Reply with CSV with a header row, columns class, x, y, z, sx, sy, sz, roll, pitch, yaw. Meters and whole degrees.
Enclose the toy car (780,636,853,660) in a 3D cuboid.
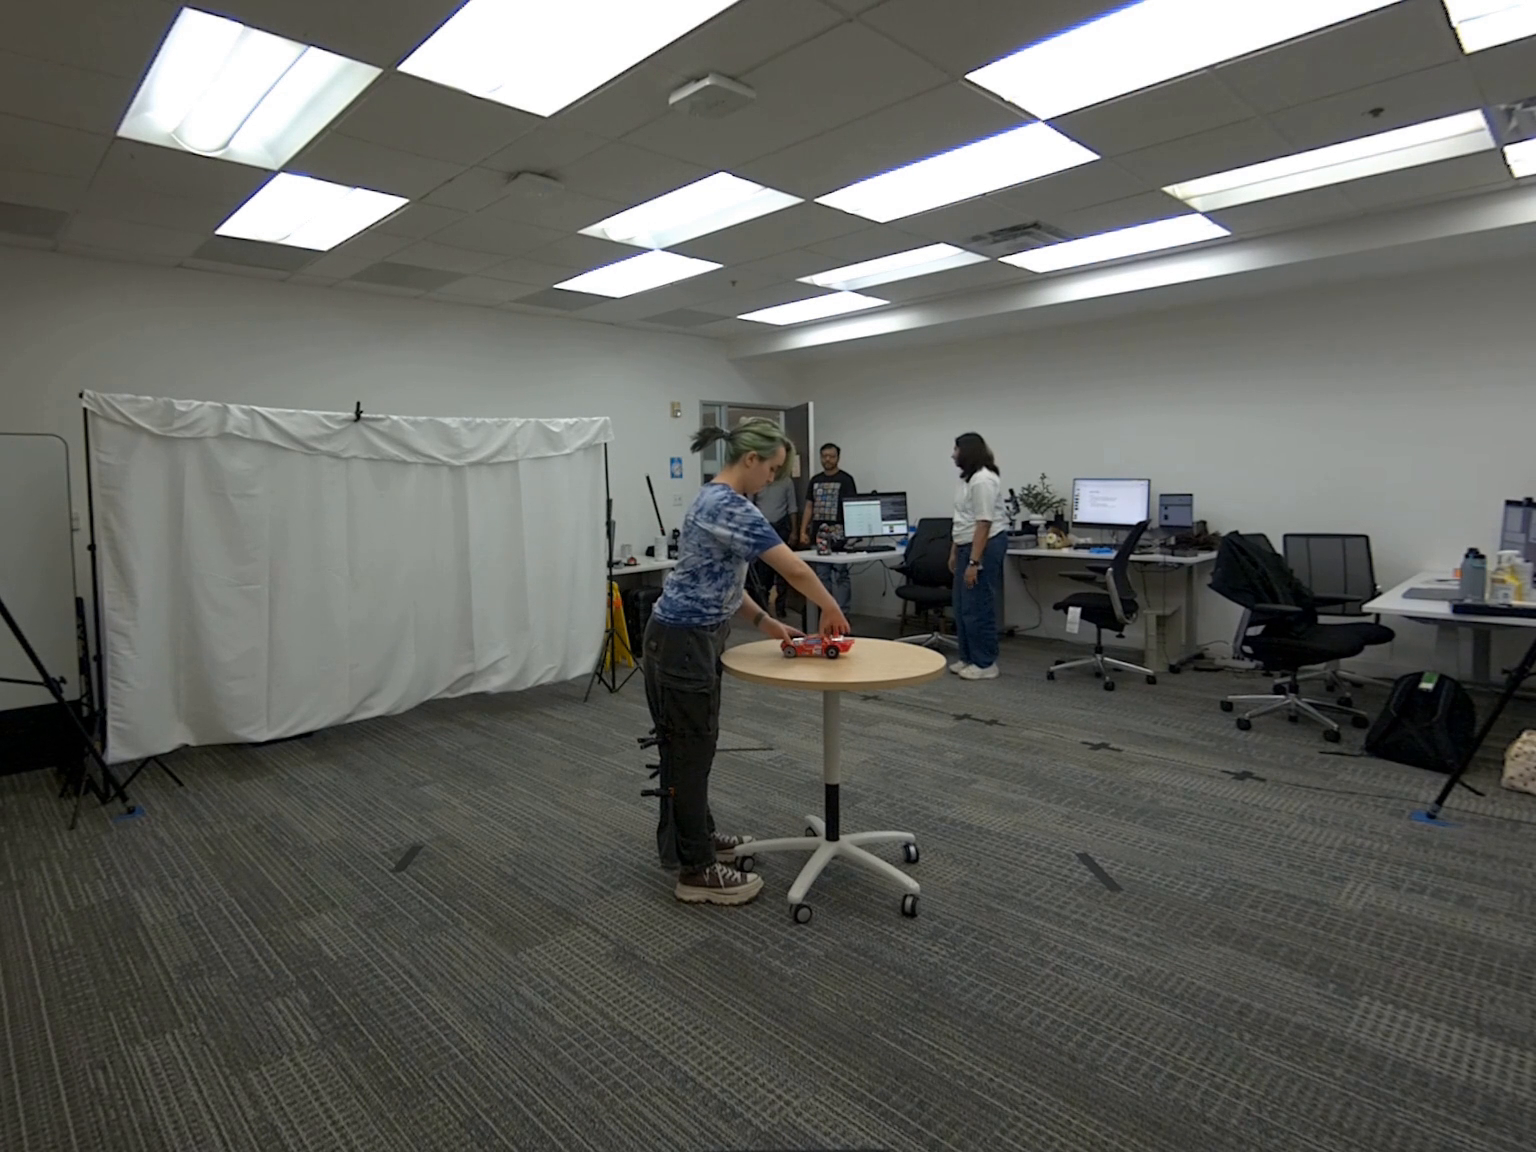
class,x,y,z,sx,sy,sz,roll,pitch,yaw
toy car,0.176,0.245,2.947,0.256,0.083,0.130,-11,5,9
